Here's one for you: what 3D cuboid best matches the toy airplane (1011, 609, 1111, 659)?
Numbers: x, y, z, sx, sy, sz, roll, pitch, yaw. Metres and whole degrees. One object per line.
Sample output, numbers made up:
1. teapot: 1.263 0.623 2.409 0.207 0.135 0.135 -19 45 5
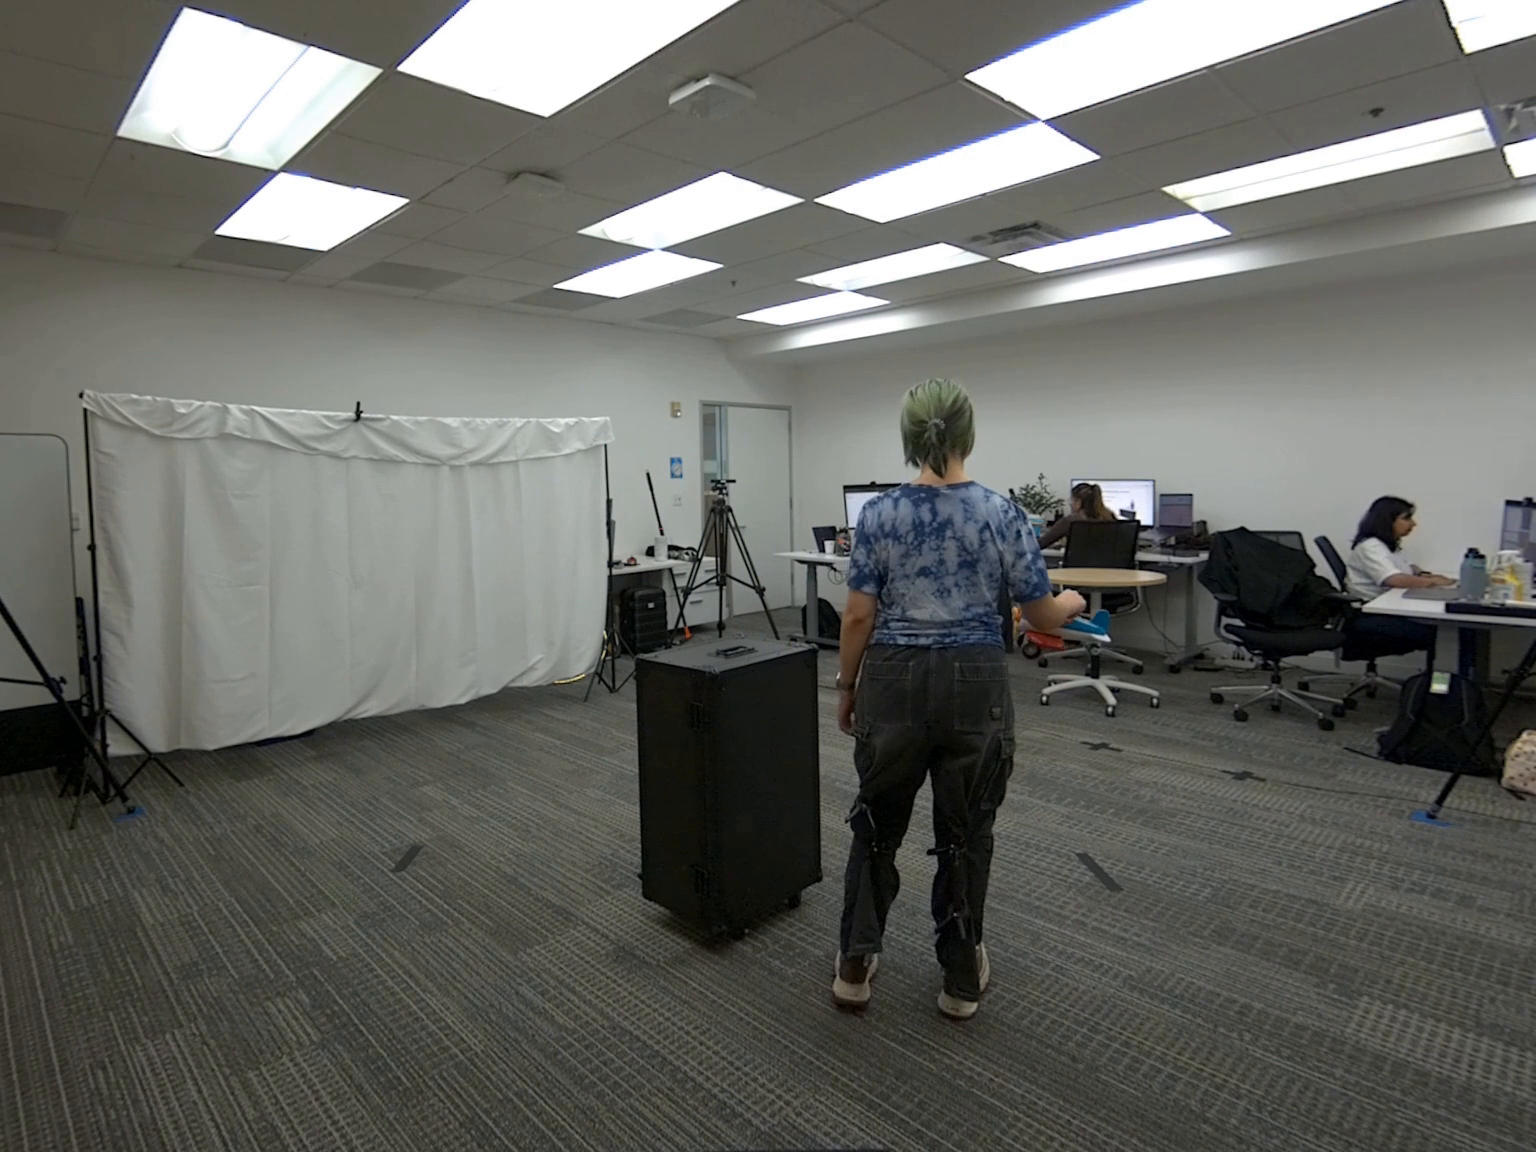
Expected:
1. toy airplane: 0.835 0.150 2.476 0.255 0.155 0.256 -6 9 -17
